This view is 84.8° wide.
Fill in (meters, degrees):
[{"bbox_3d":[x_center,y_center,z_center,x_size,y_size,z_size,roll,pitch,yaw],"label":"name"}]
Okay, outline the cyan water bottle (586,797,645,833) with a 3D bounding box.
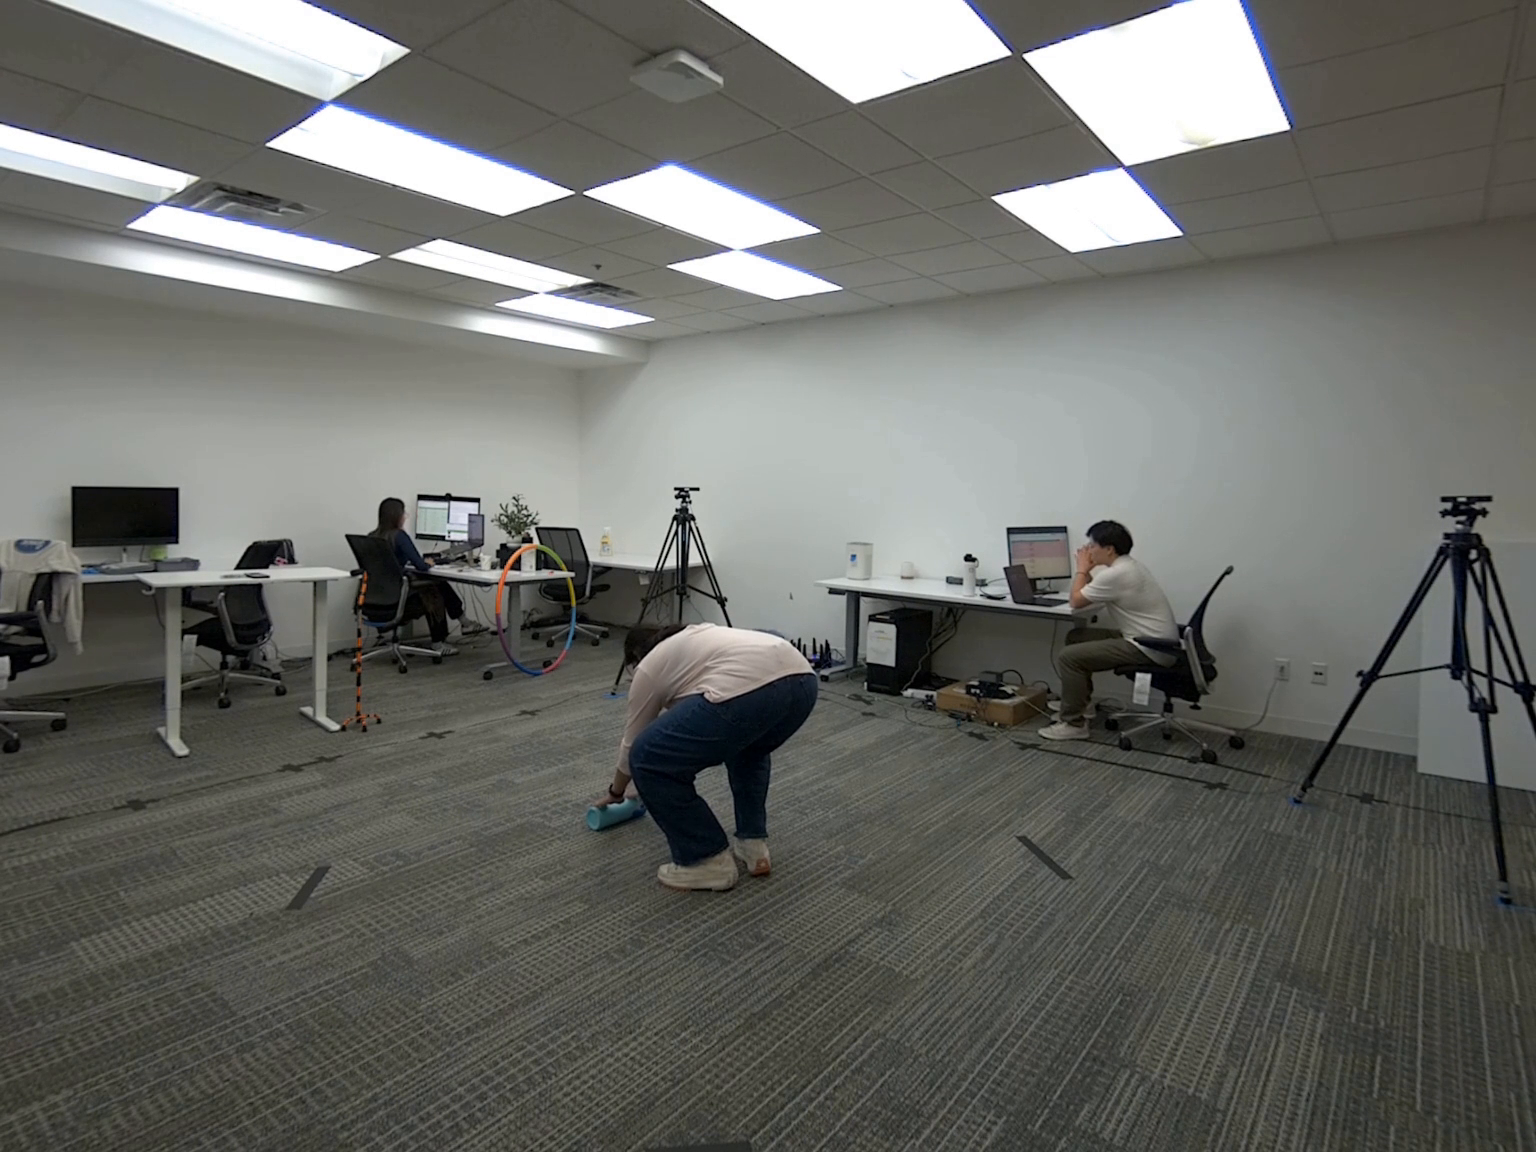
[{"bbox_3d":[-0.627,0.969,3.533,0.095,0.092,0.274,4,3,40],"label":"cyan water bottle"}]
